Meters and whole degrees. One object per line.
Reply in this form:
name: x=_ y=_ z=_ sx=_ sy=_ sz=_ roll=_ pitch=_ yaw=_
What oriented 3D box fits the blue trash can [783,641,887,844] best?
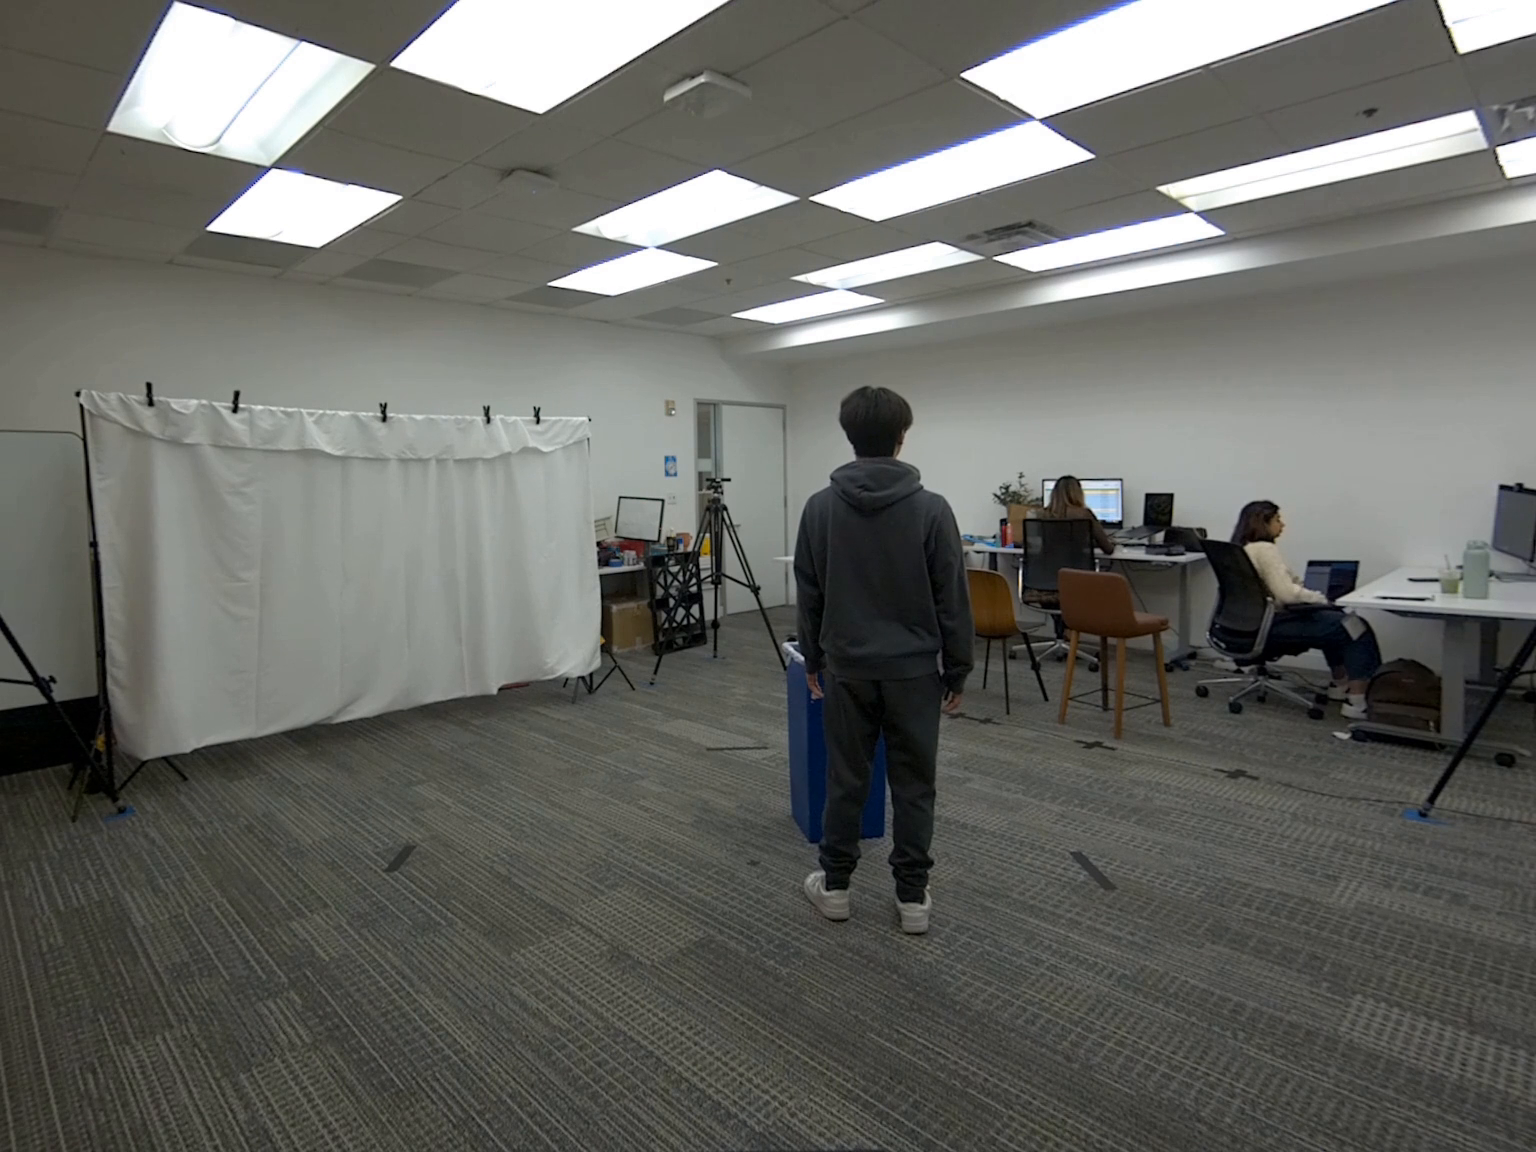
blue trash can: x=0.281 y=0.643 z=3.411 sx=0.370 sy=0.711 sz=0.383 roll=-2 pitch=5 yaw=-11
